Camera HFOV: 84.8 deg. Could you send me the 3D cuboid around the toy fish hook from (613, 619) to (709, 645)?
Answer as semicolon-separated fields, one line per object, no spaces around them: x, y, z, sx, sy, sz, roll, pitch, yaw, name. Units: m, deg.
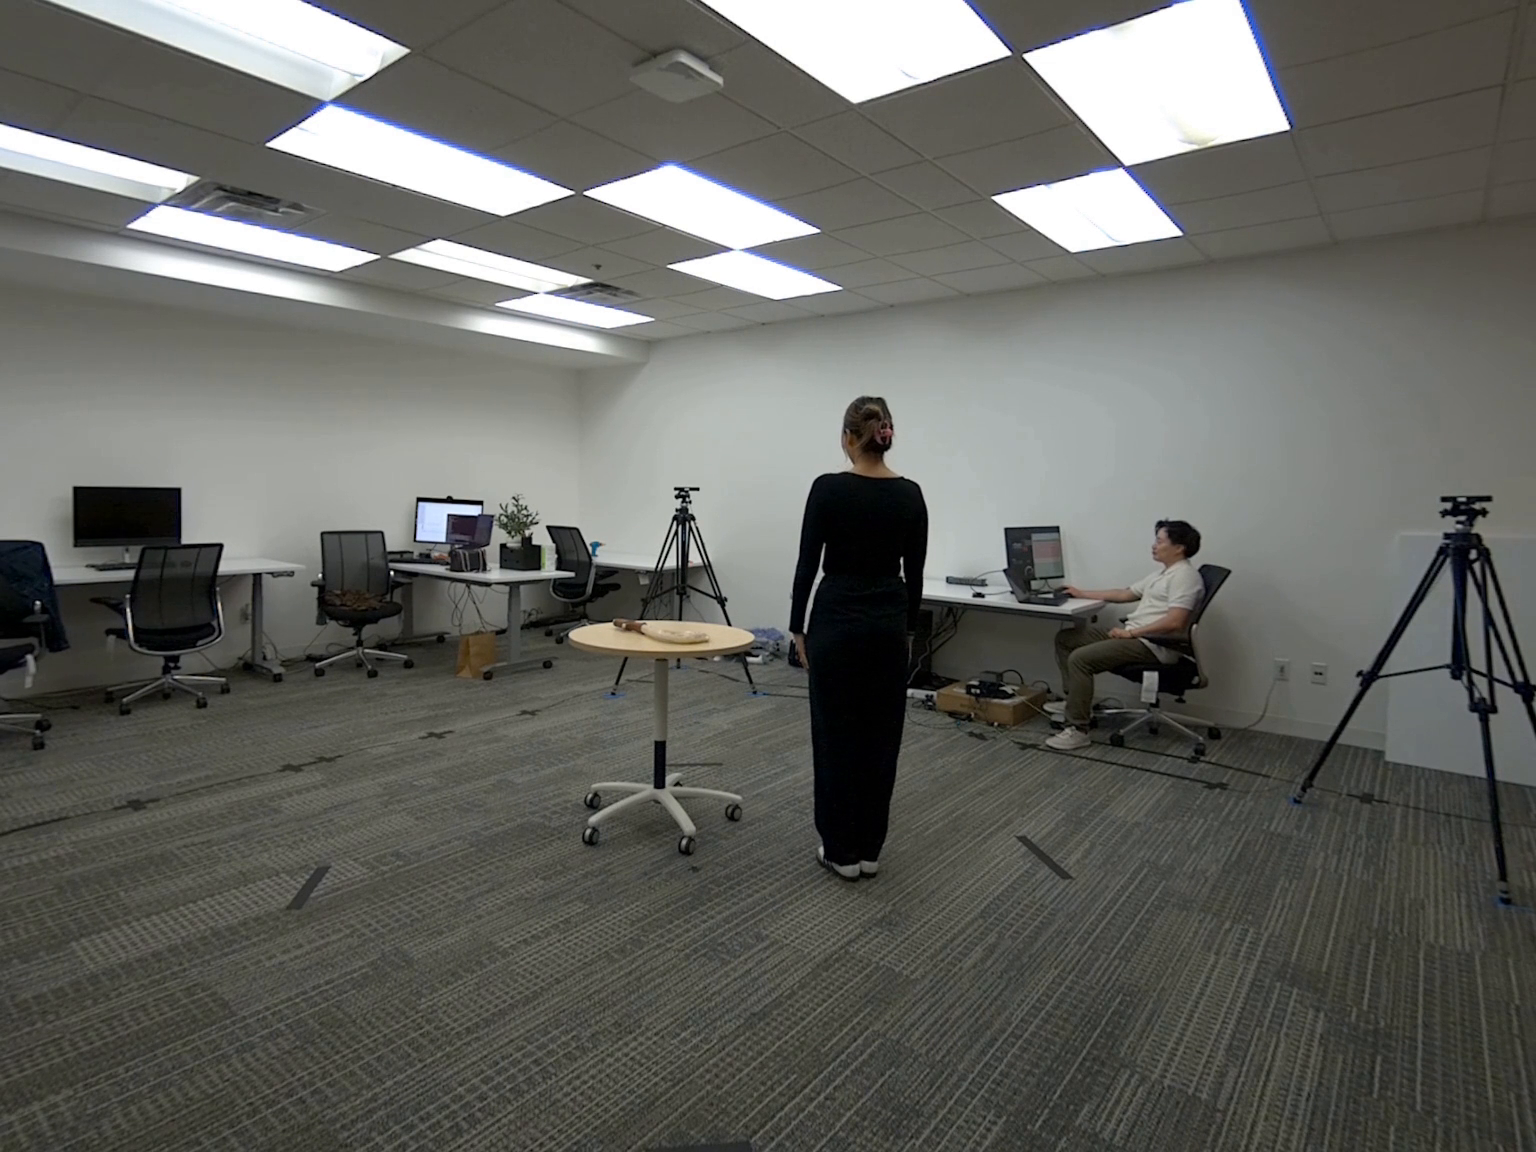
-0.454;0.227;3.519;0.217;0.048;0.524;5;2;-45;toy fish hook
